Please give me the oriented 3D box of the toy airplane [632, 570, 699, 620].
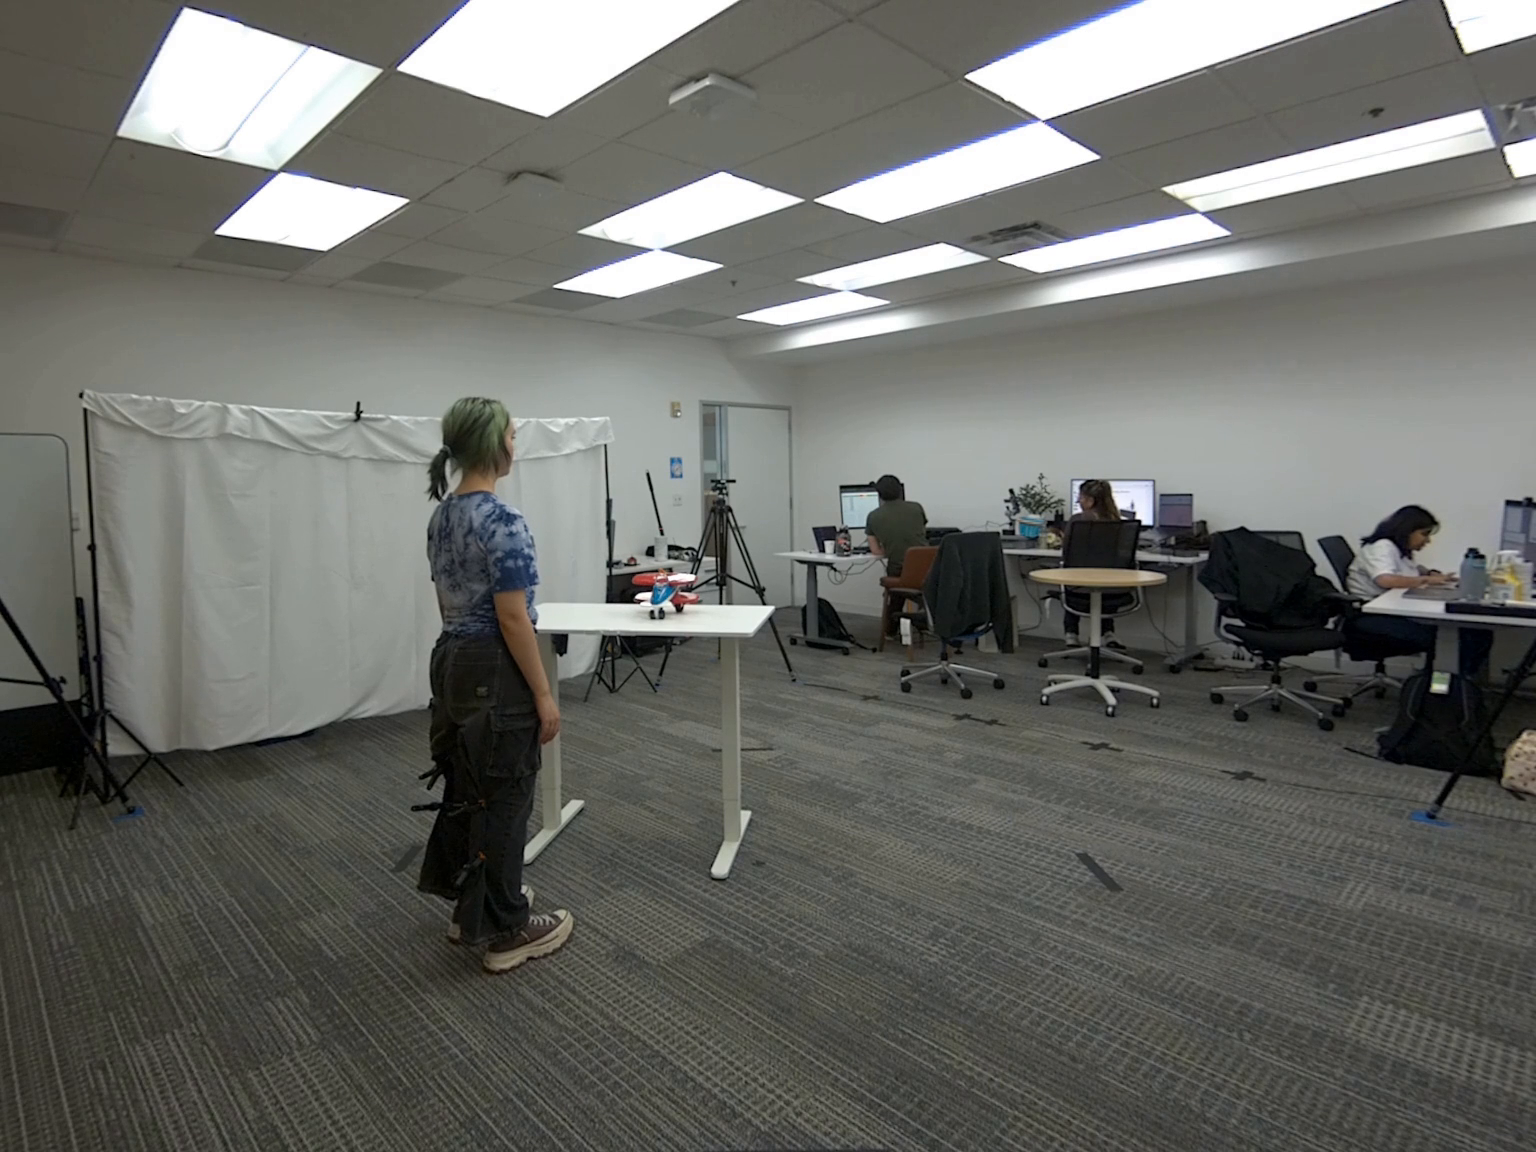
[{"bbox_3d":[-0.383,0.075,3.290,0.247,0.156,0.265,-3,6,-19],"label":"toy airplane"}]
